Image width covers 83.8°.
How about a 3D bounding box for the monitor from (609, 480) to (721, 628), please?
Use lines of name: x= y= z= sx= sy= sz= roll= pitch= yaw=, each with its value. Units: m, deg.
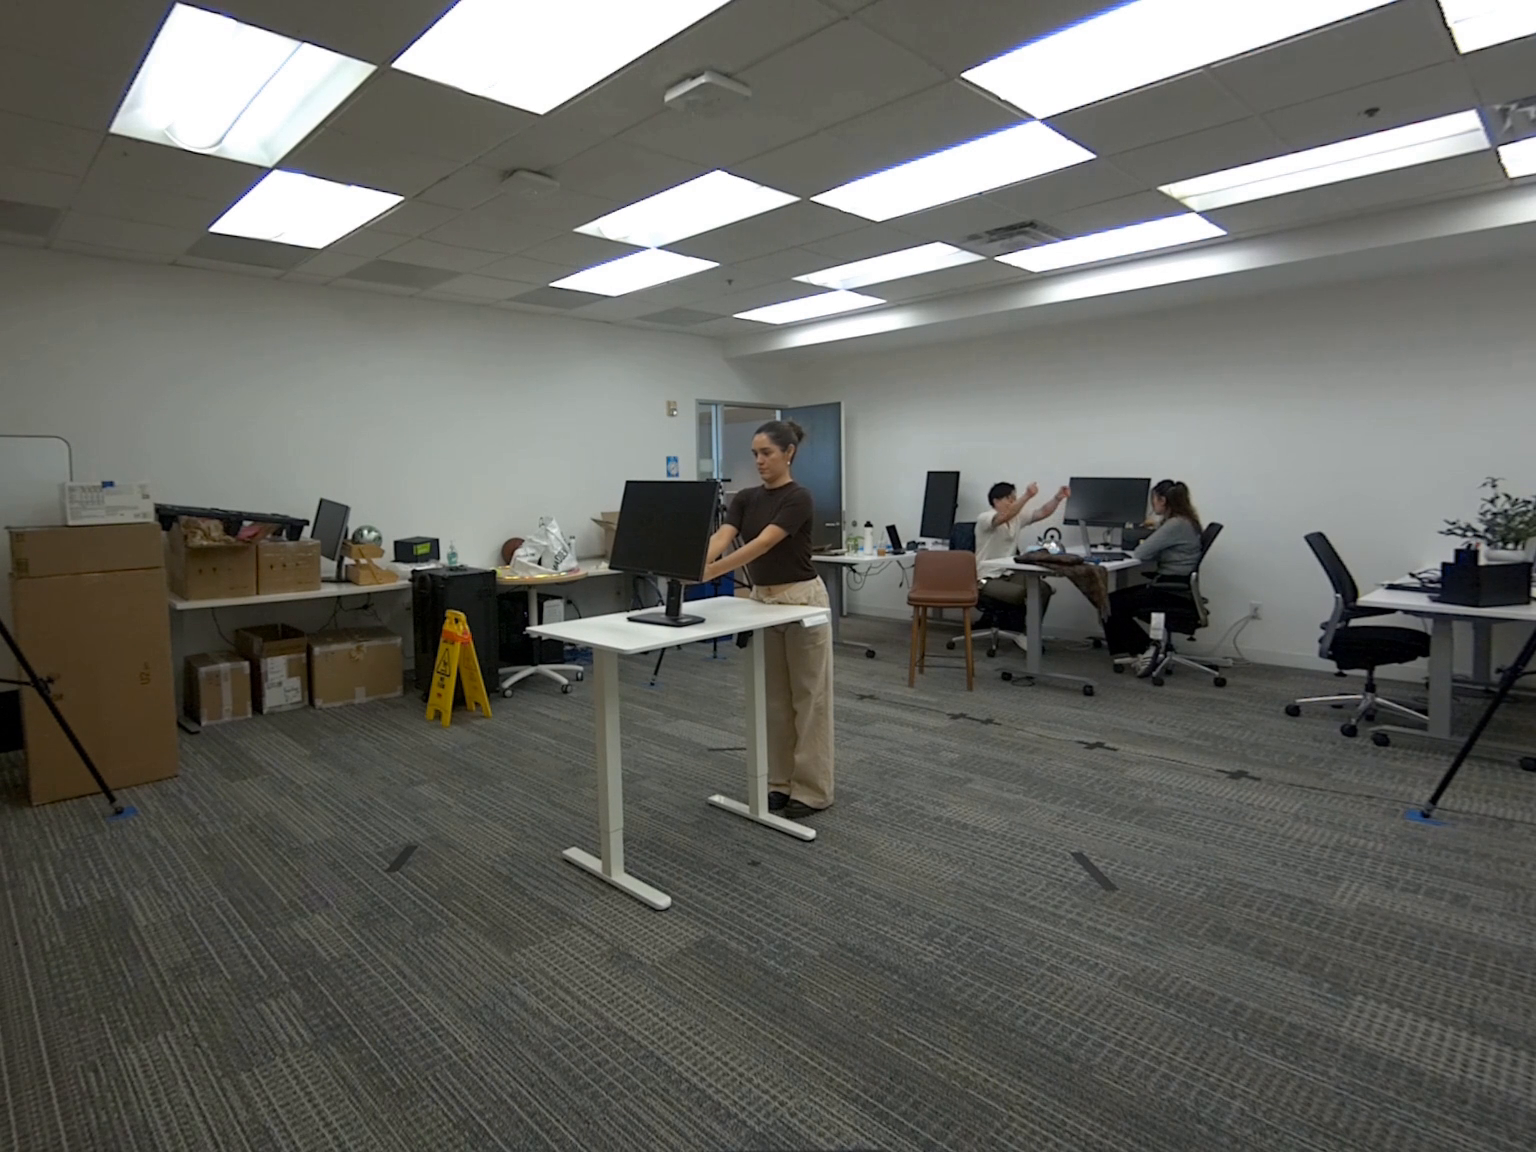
monitor: x=-0.363 y=-0.086 z=3.128 sx=0.556 sy=0.521 sz=0.182 roll=4 pitch=4 yaw=43
